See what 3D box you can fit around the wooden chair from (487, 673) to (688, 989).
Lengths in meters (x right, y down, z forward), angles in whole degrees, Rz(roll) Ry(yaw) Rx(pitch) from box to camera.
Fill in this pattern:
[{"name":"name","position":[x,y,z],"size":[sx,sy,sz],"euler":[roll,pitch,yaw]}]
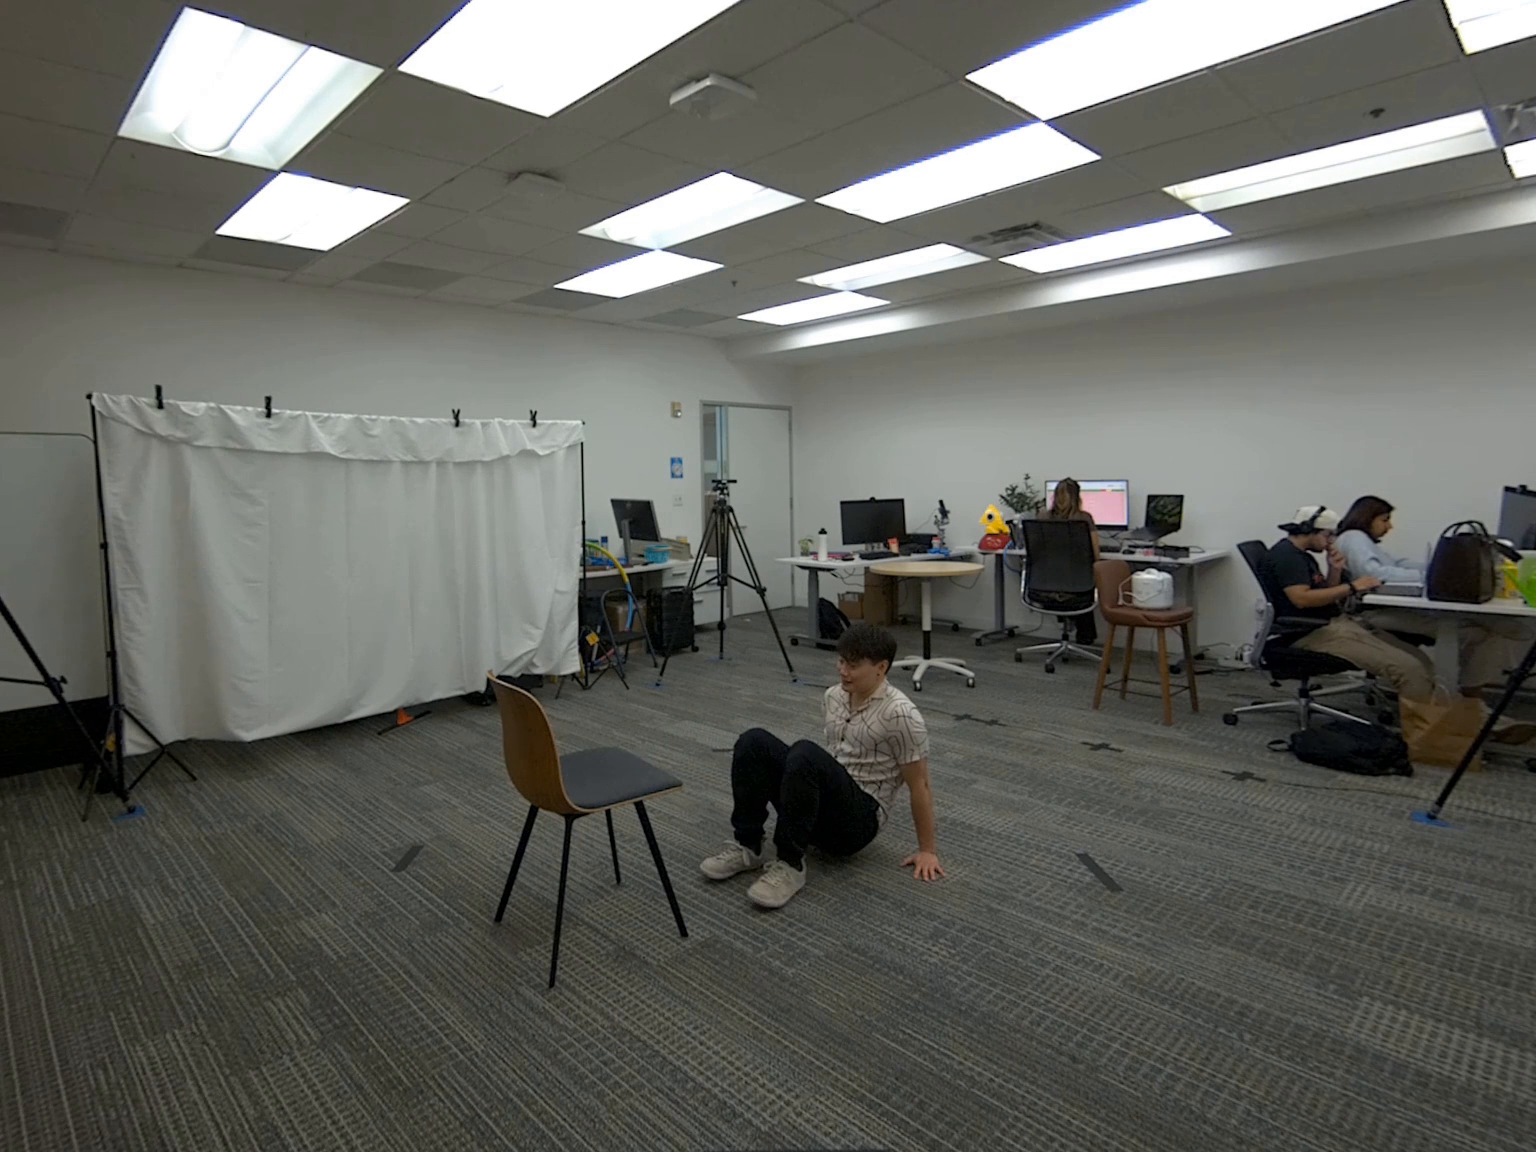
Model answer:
[{"name":"wooden chair","position":[-0.561,0.684,2.650],"size":[0.511,0.872,0.492],"euler":[-10,8,-35]}]
